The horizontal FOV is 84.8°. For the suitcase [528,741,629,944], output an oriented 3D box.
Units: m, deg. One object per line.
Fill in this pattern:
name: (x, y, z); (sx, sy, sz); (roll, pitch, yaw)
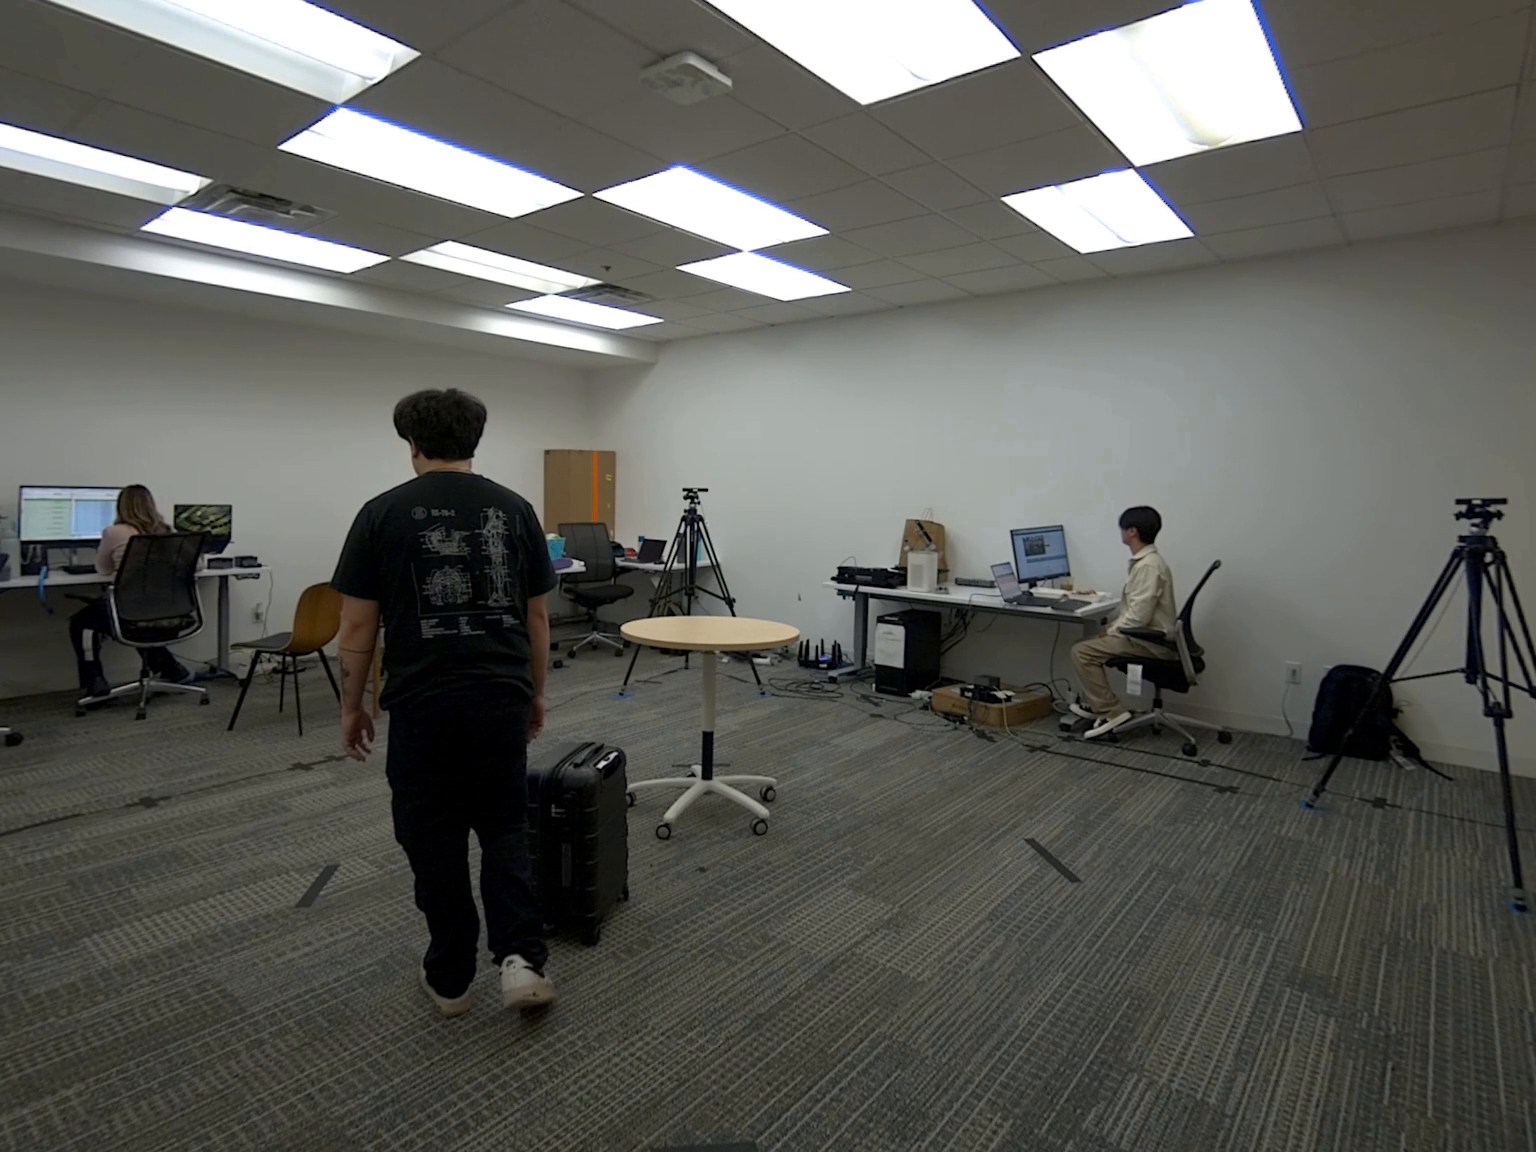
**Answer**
suitcase: (-0.628, 0.832, 2.714); (0.251, 0.547, 0.372); (1, 5, 11)
